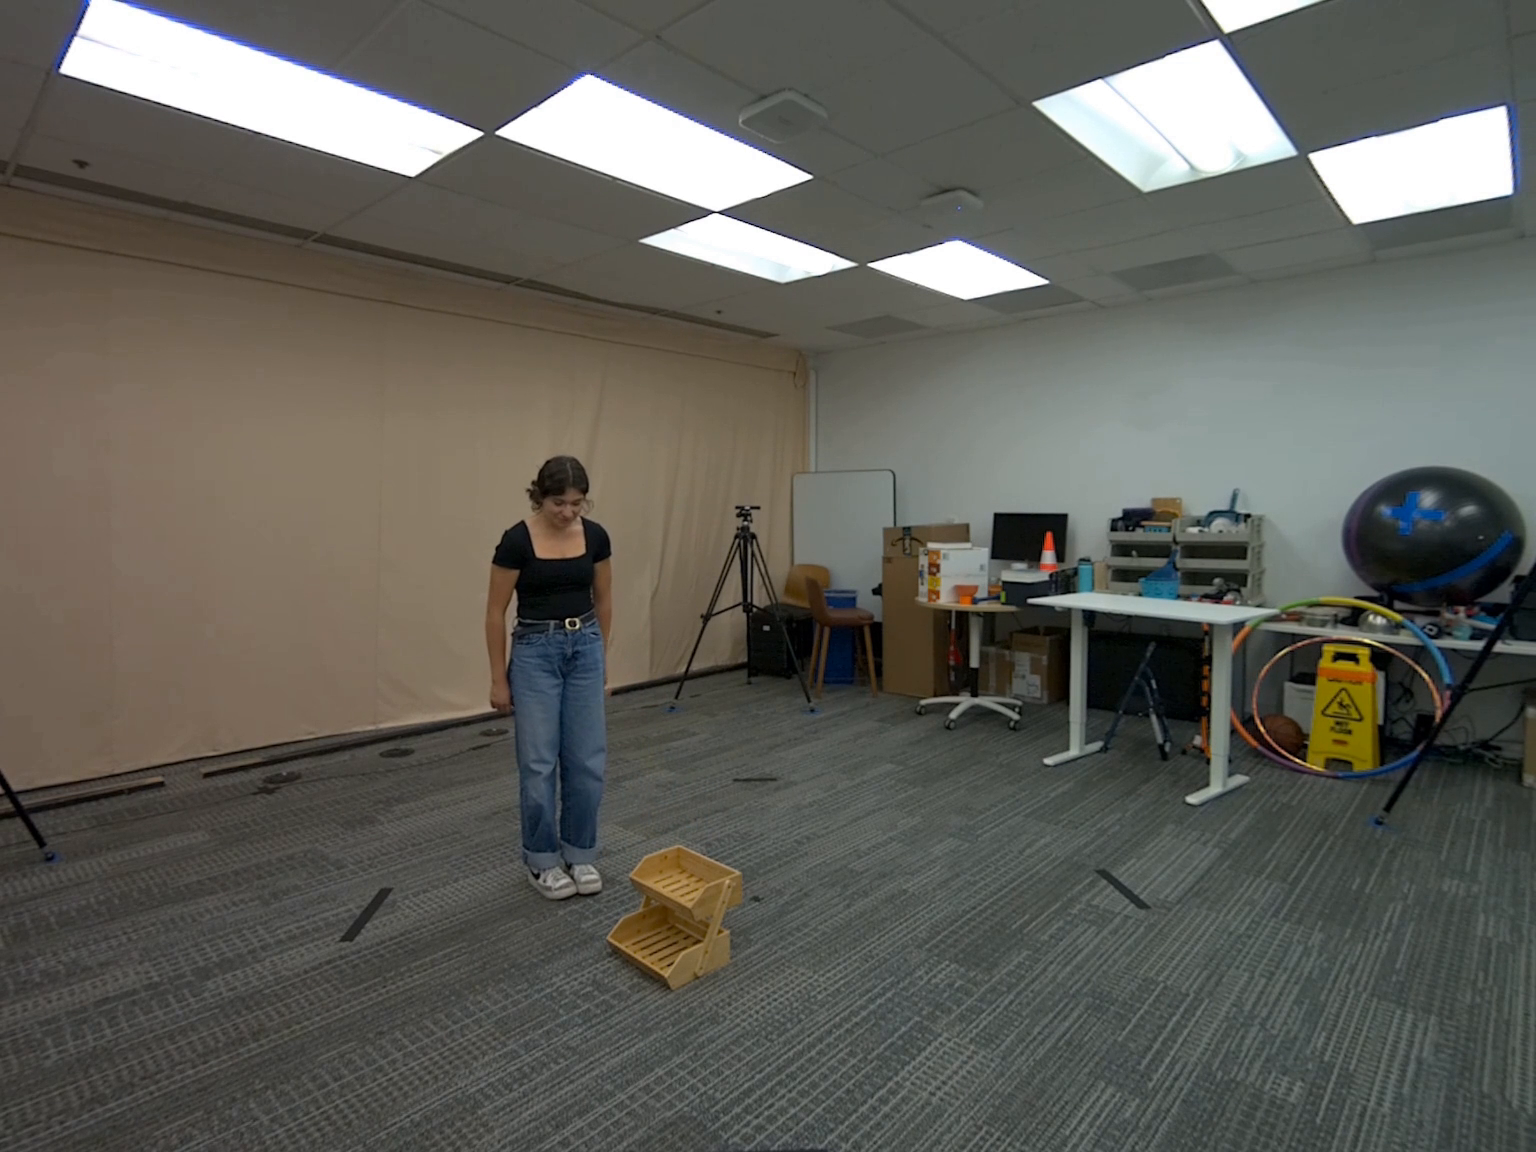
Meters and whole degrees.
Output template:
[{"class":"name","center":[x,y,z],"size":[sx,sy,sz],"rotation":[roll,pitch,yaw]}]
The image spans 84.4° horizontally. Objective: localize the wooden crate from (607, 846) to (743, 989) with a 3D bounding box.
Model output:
[{"class":"wooden crate","center":[-0.292,1.045,2.608],"size":[0.293,0.273,0.335],"rotation":[-3,5,-44]}]
